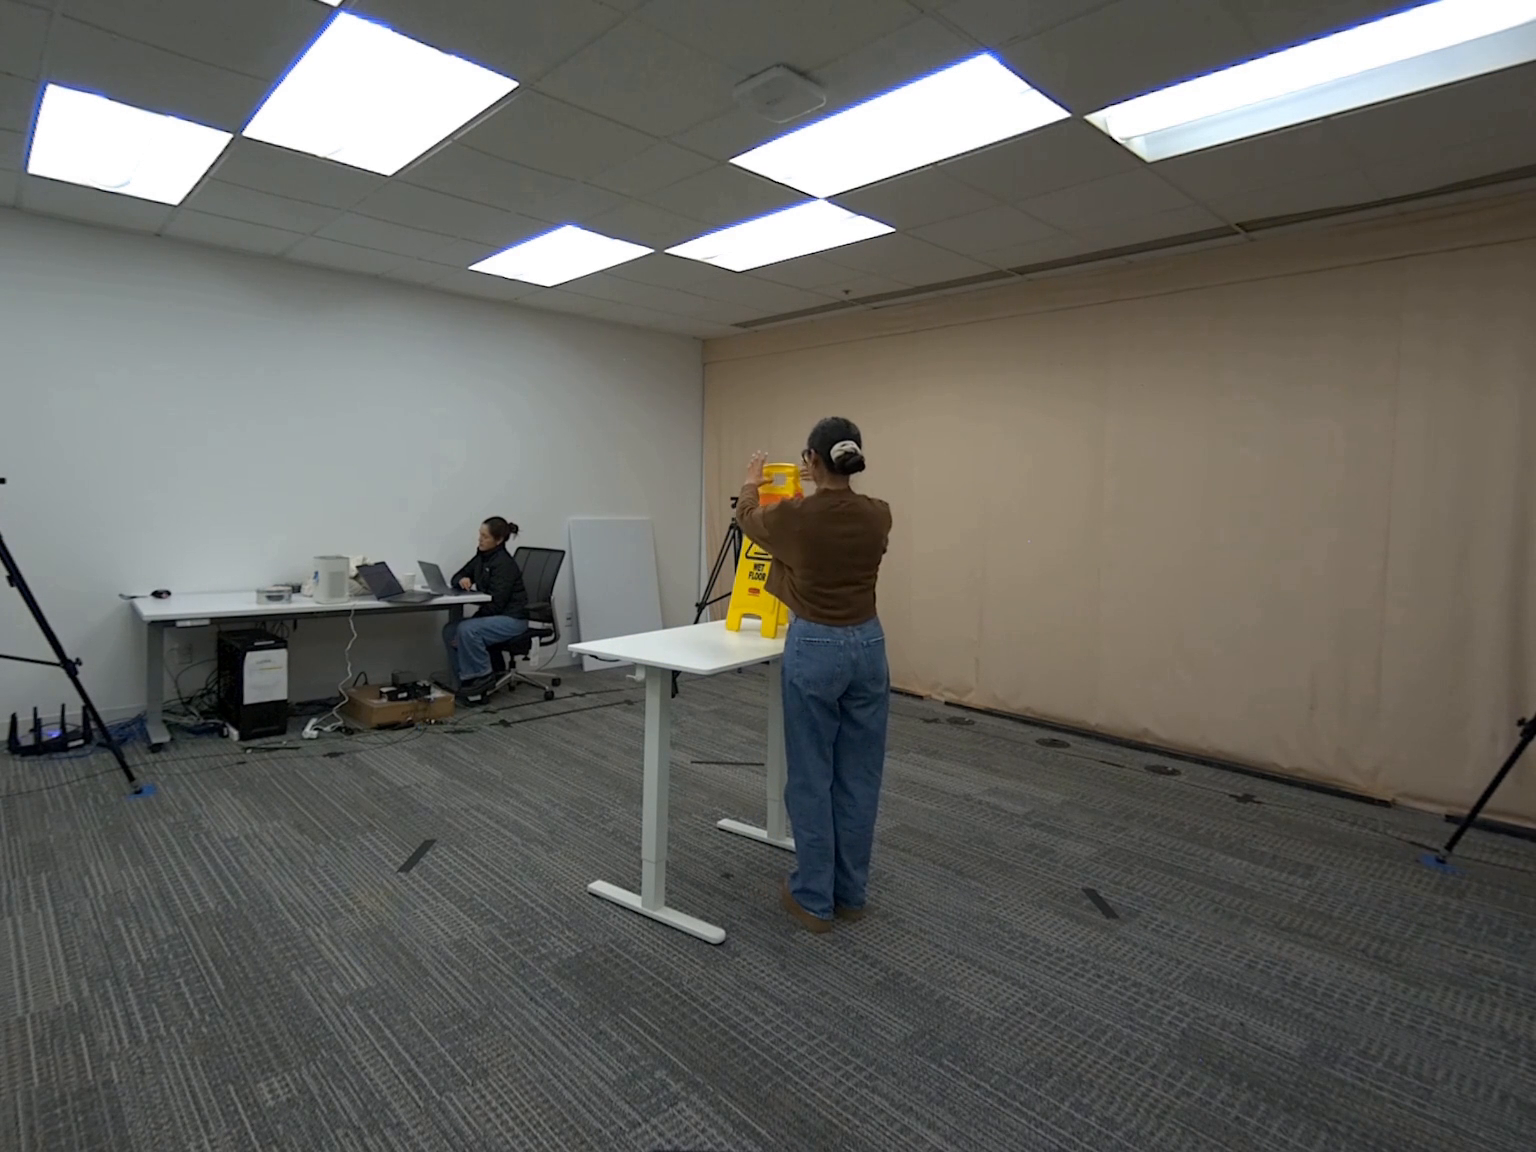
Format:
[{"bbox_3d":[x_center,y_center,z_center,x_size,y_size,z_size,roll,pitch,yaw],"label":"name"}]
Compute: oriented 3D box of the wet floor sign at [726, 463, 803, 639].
[{"bbox_3d":[0.027,-0.106,3.261,0.283,0.644,0.289,-2,4,-42],"label":"wet floor sign"}]
